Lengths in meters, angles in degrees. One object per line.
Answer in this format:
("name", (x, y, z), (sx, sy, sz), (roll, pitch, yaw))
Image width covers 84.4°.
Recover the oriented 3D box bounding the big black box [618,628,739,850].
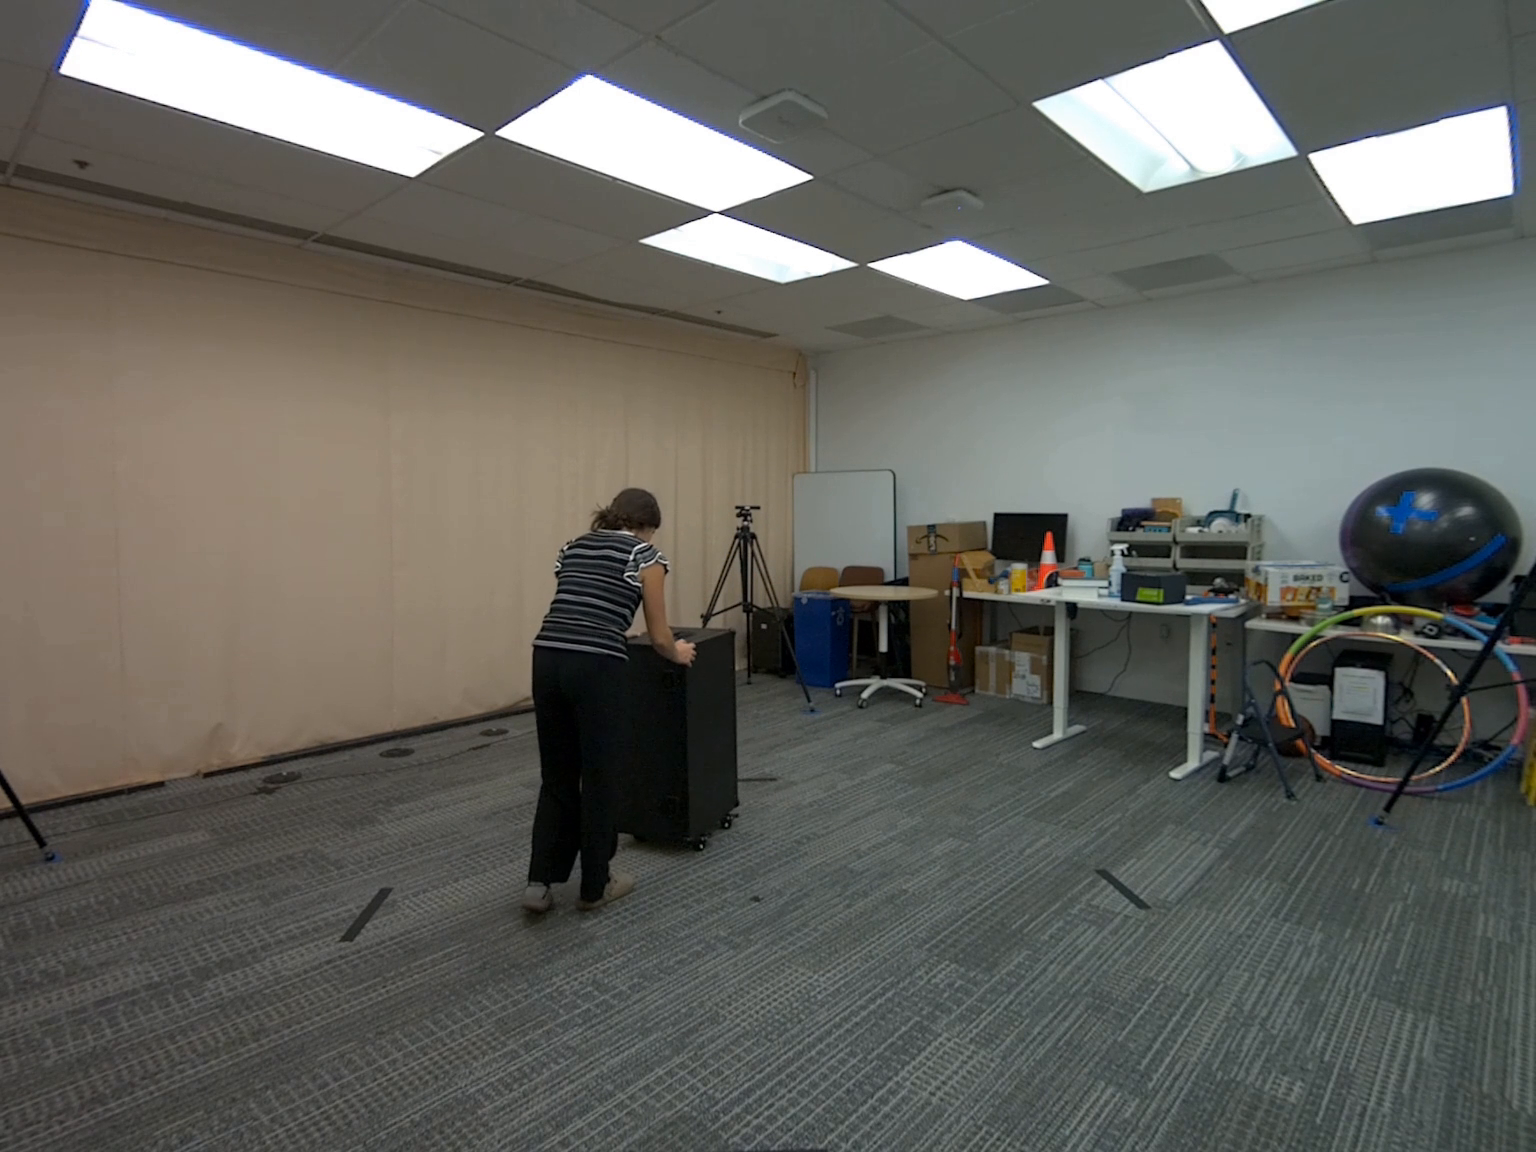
("big black box", (-0.390, 0.678, 3.560), (0.406, 0.860, 0.509), (0, 3, 24))
